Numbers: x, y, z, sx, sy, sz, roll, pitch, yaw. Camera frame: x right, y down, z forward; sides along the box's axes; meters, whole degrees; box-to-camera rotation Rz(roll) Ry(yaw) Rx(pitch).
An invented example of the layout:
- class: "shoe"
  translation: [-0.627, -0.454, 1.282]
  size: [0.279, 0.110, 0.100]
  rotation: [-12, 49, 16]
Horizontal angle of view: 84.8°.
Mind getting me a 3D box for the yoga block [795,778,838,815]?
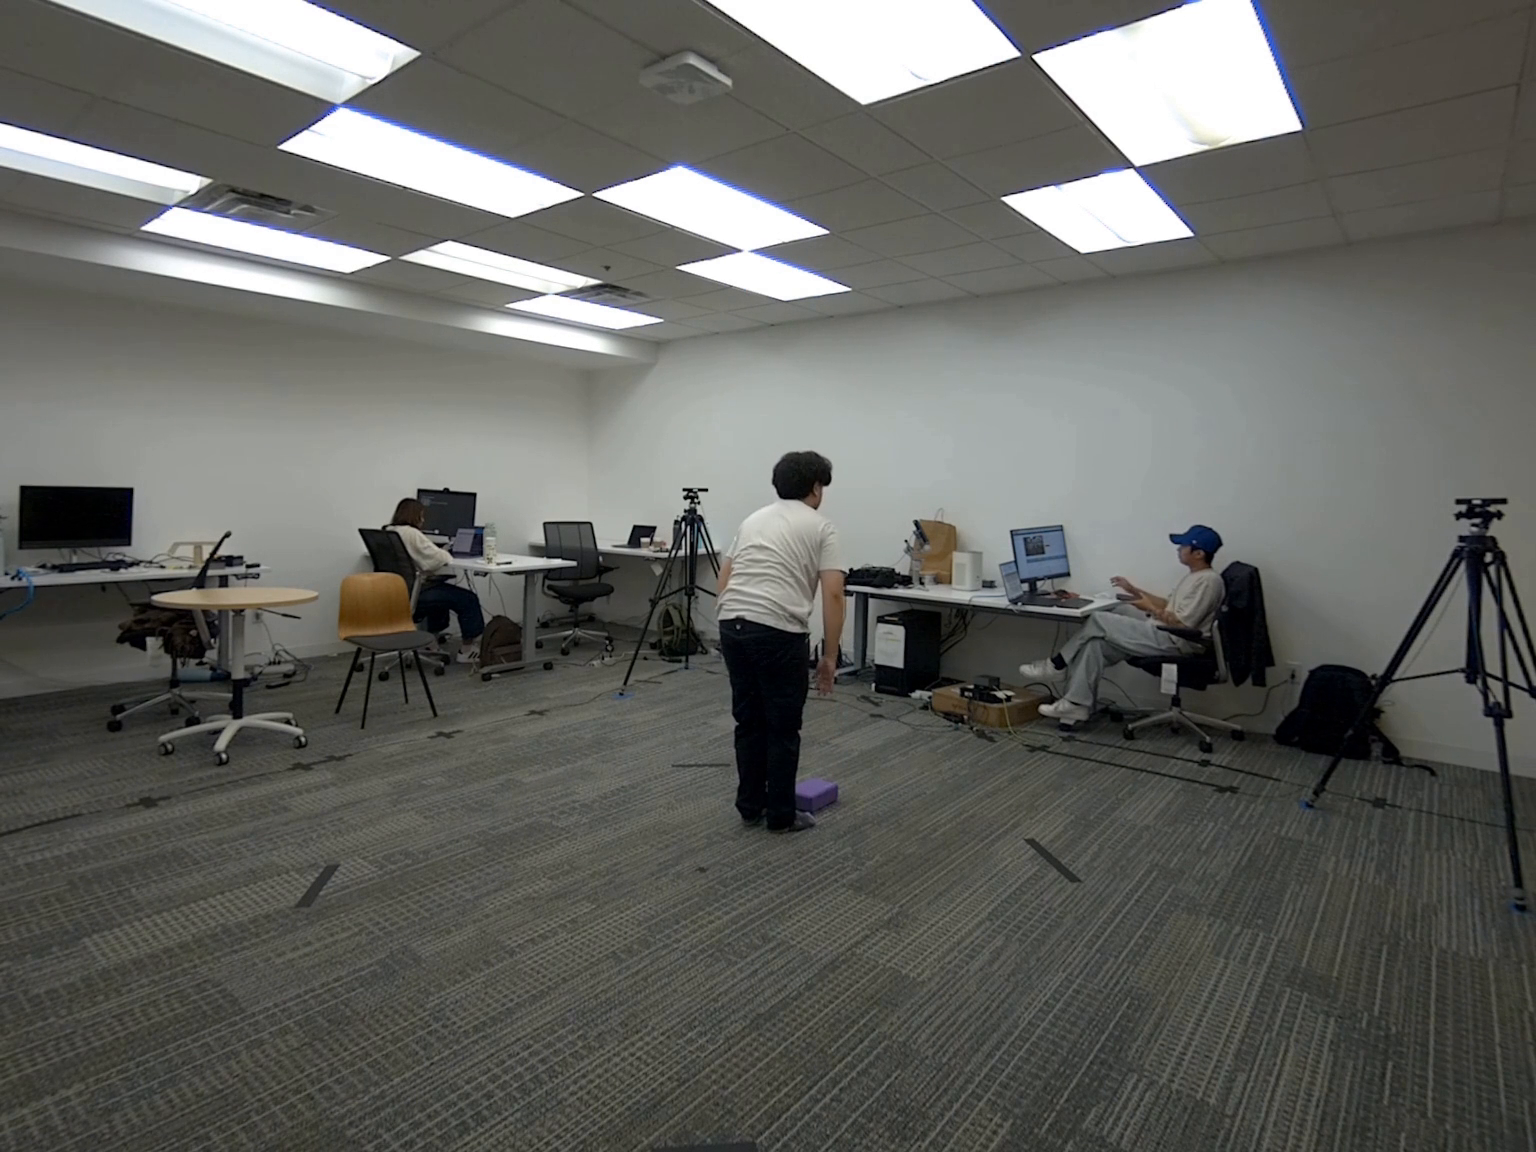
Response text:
- class: "yoga block"
  translation: [0.180, 0.968, 3.791]
  size: [0.154, 0.076, 0.222]
  rotation: [4, 5, 37]
